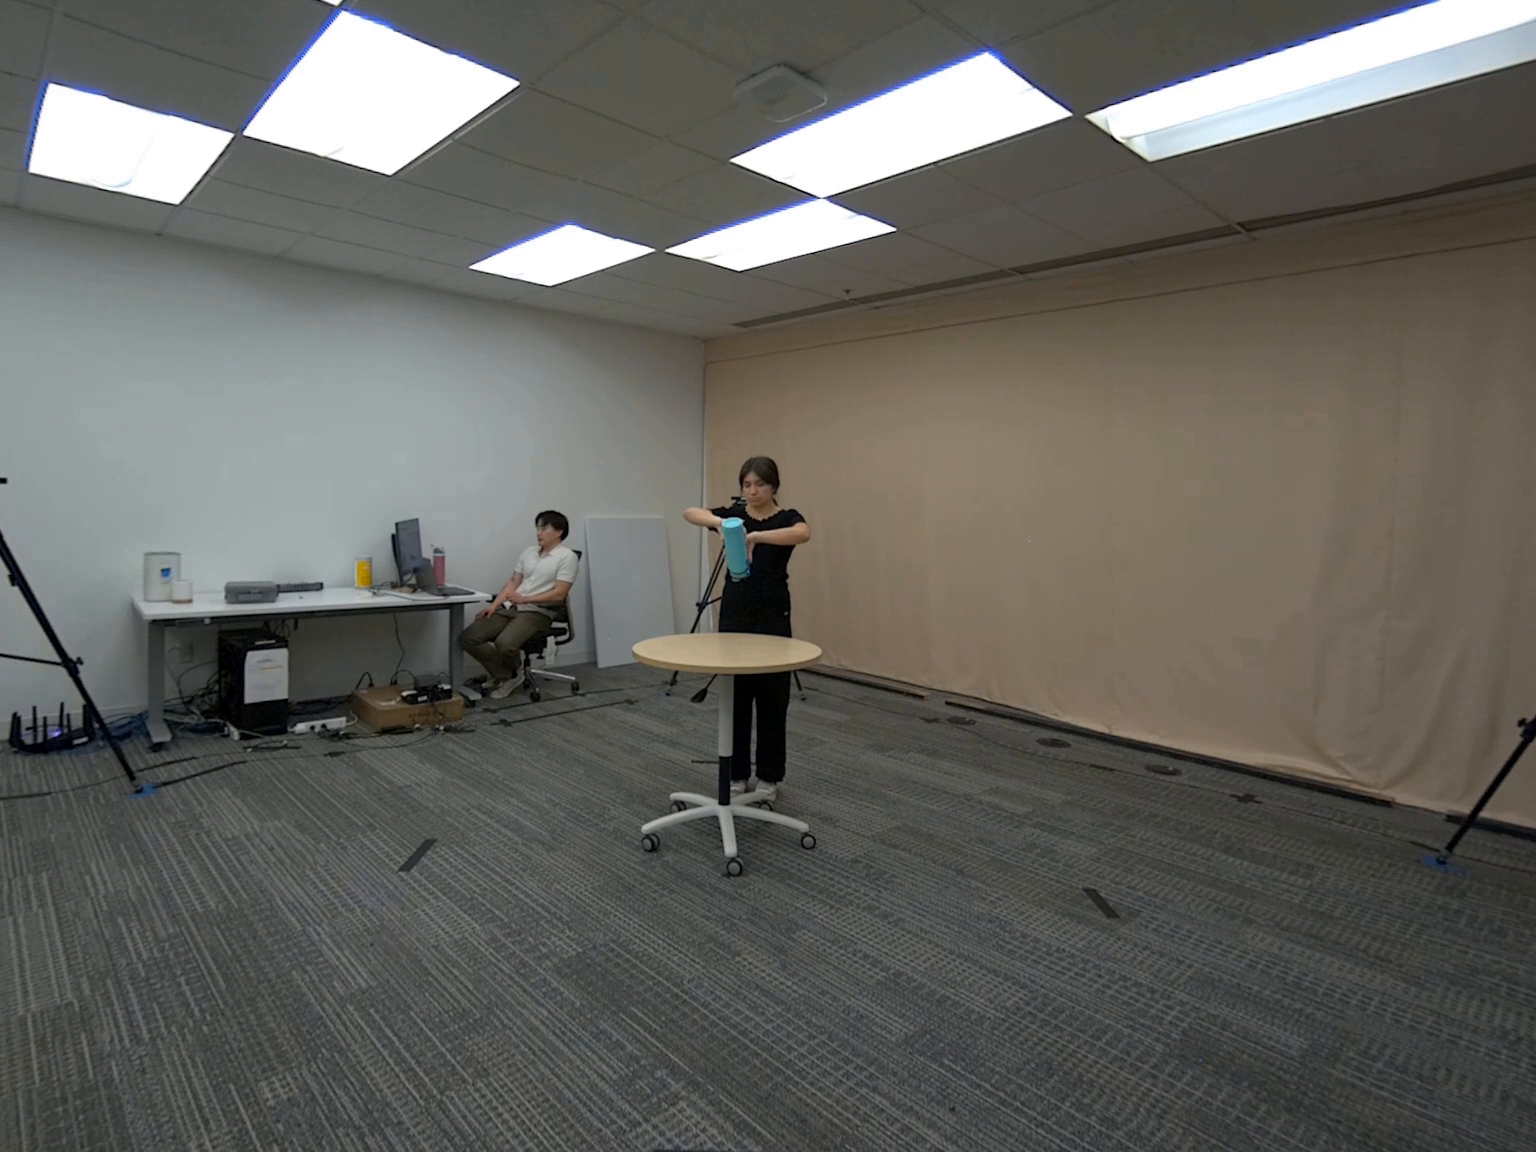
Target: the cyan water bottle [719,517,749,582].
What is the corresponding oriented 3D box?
[{"bbox_3d":[-0.148,-0.106,3.585,0.092,0.277,0.094,-8,28,3],"label":"cyan water bottle"}]
